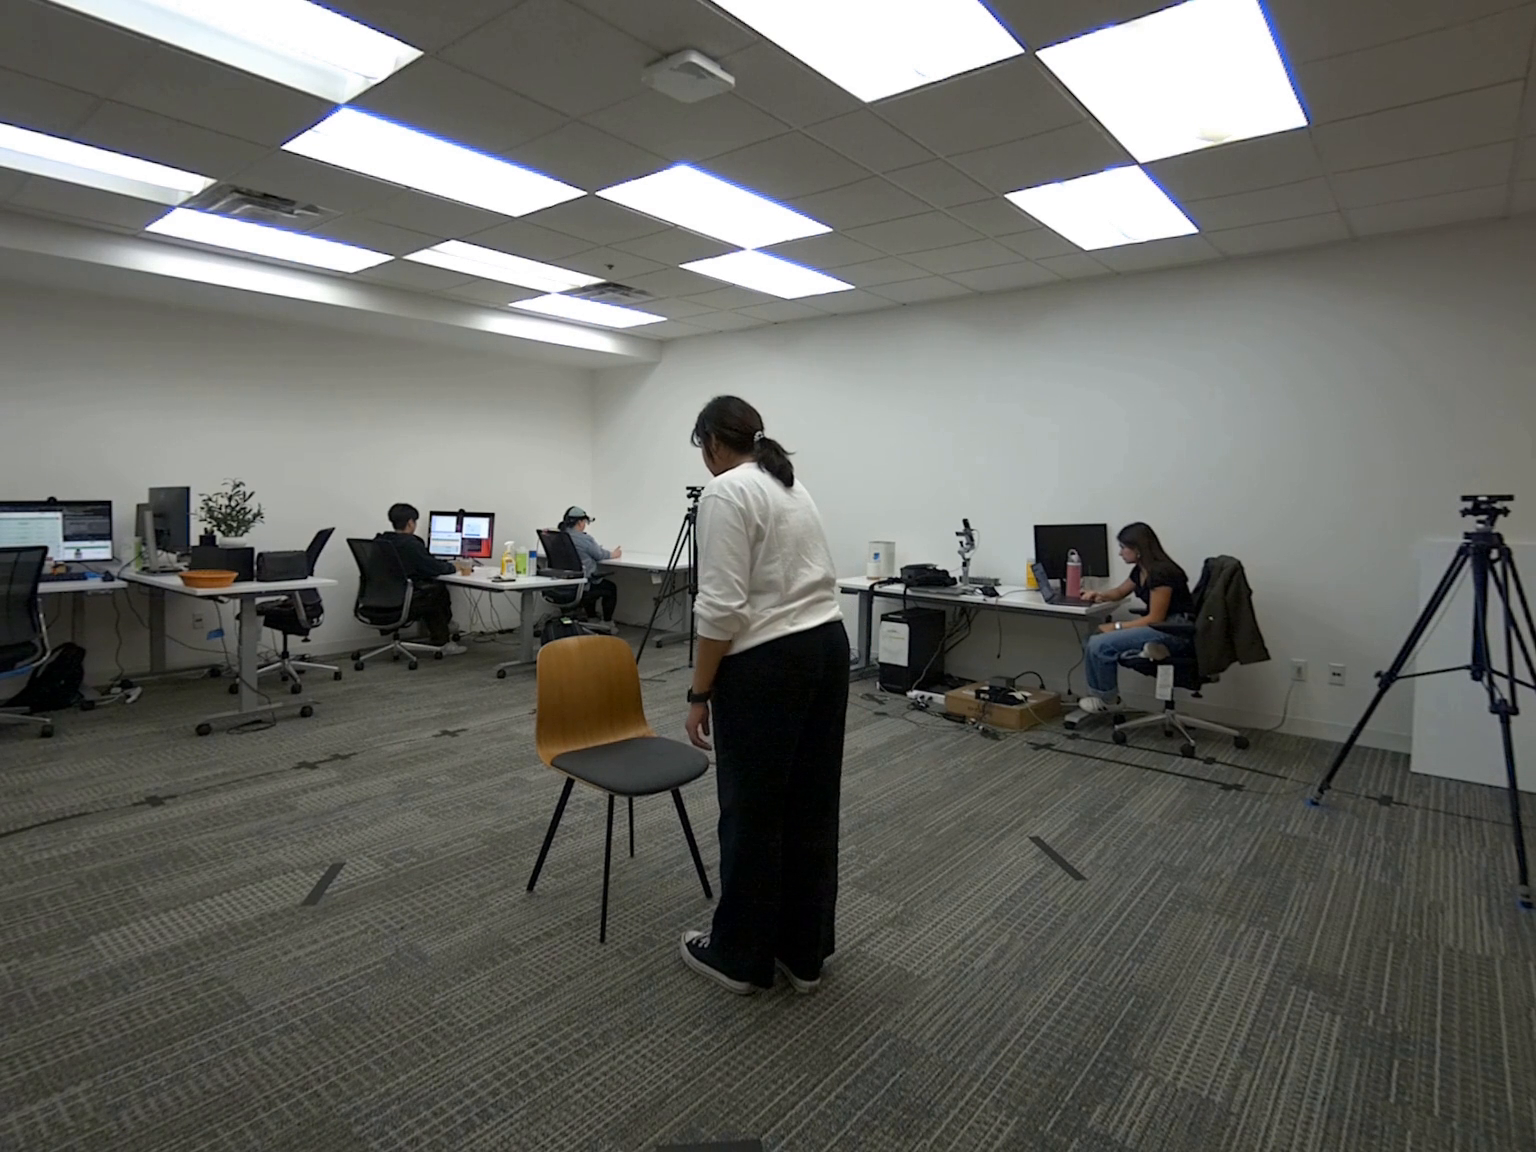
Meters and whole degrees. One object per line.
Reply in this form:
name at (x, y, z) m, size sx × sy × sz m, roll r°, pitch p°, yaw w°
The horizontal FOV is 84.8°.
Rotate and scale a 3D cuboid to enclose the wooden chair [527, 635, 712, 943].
wooden chair at (-0.495, 0.658, 2.864) m, size 0.463 × 0.878 × 0.539 m, roll -2°, pitch 0°, yaw -44°
